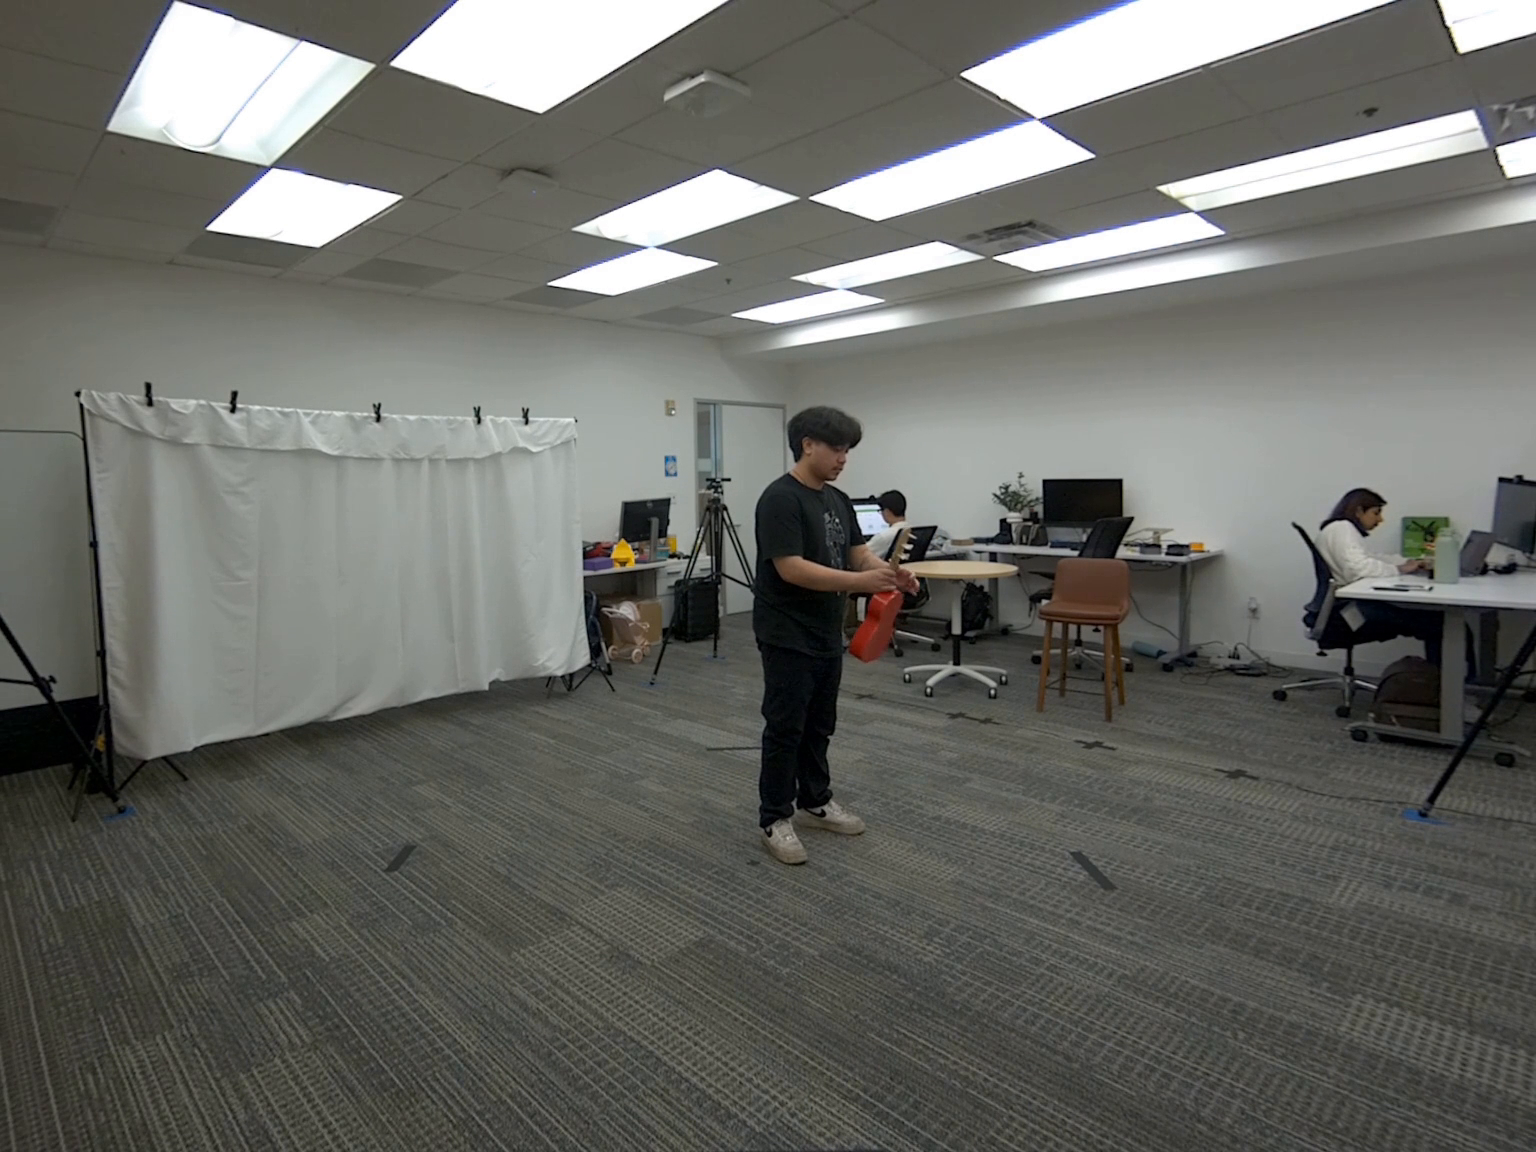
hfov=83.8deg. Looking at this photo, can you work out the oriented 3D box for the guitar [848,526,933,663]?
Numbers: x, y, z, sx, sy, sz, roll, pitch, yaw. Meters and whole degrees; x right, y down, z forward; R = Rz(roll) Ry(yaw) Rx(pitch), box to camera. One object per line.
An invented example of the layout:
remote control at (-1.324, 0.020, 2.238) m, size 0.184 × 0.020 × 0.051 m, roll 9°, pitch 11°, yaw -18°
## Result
guitar at (0.398, 0.071, 2.971) m, size 0.073 × 0.490 × 0.189 m, roll 27°, pitch 27°, yaw 29°
